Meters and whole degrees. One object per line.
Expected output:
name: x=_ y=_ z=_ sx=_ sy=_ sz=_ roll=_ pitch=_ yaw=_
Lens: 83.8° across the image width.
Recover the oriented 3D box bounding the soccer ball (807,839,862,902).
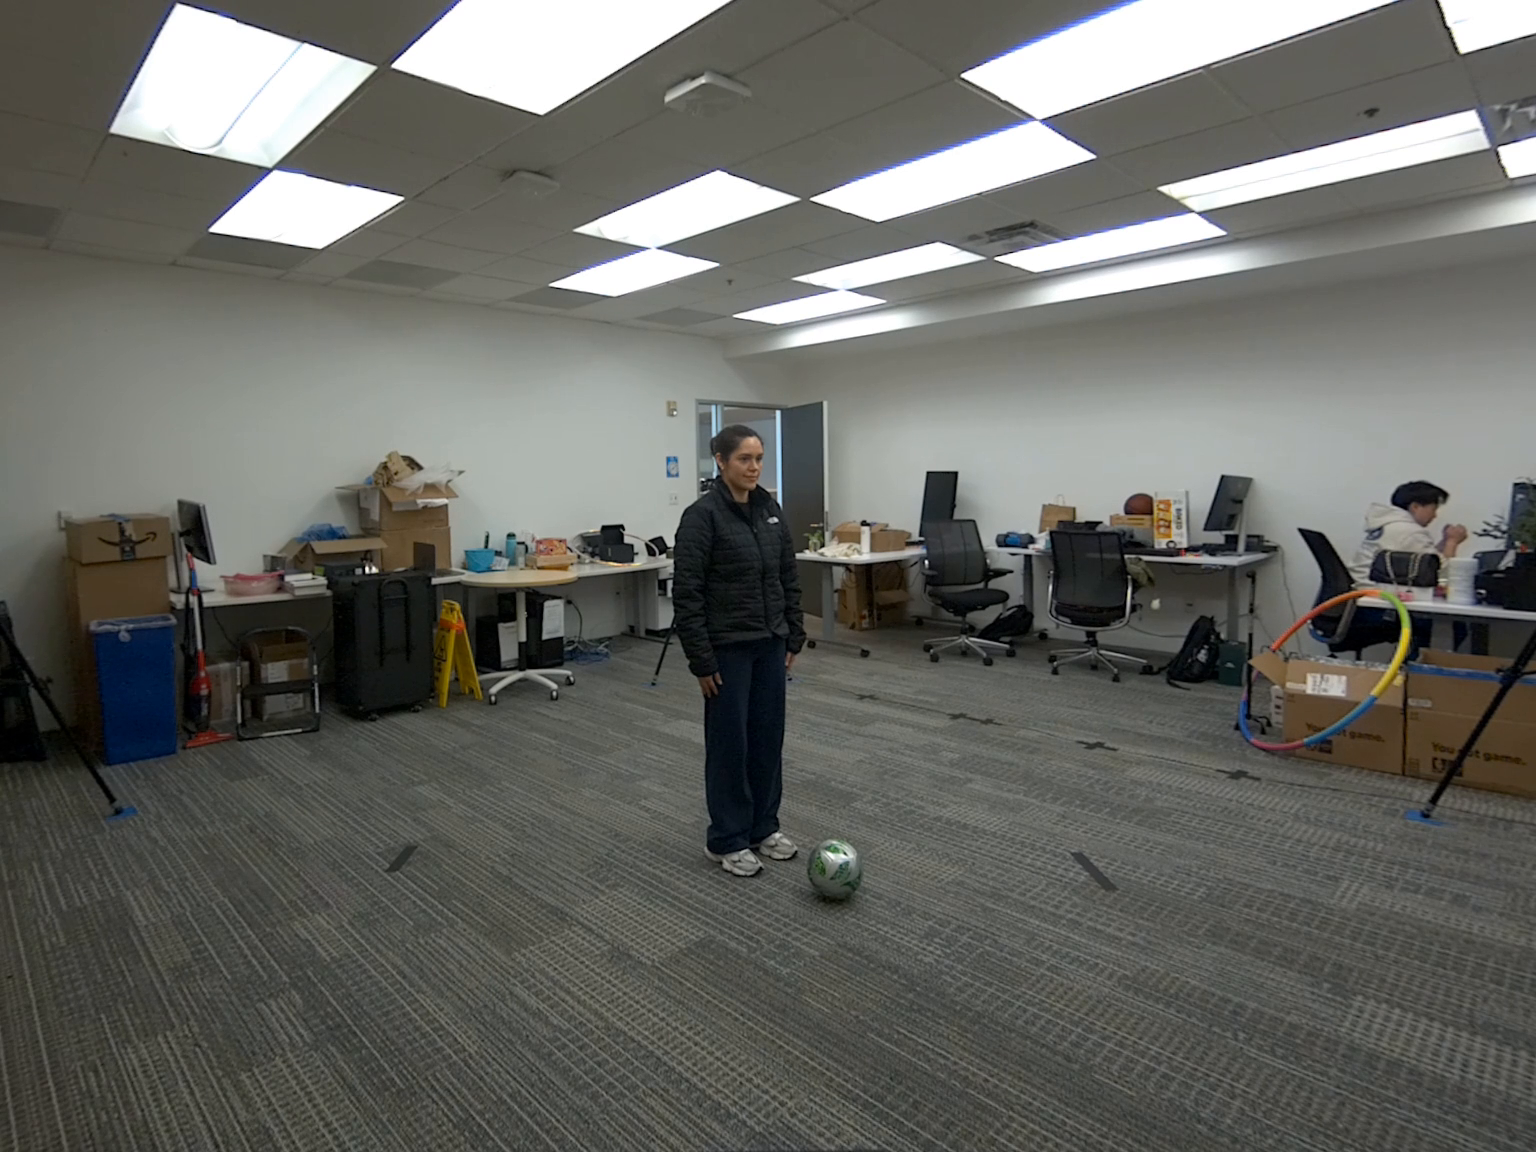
soccer ball: x=0.231 y=0.976 z=2.845 sx=0.187 sy=0.187 sz=0.188 roll=-1 pitch=5 yaw=-2
